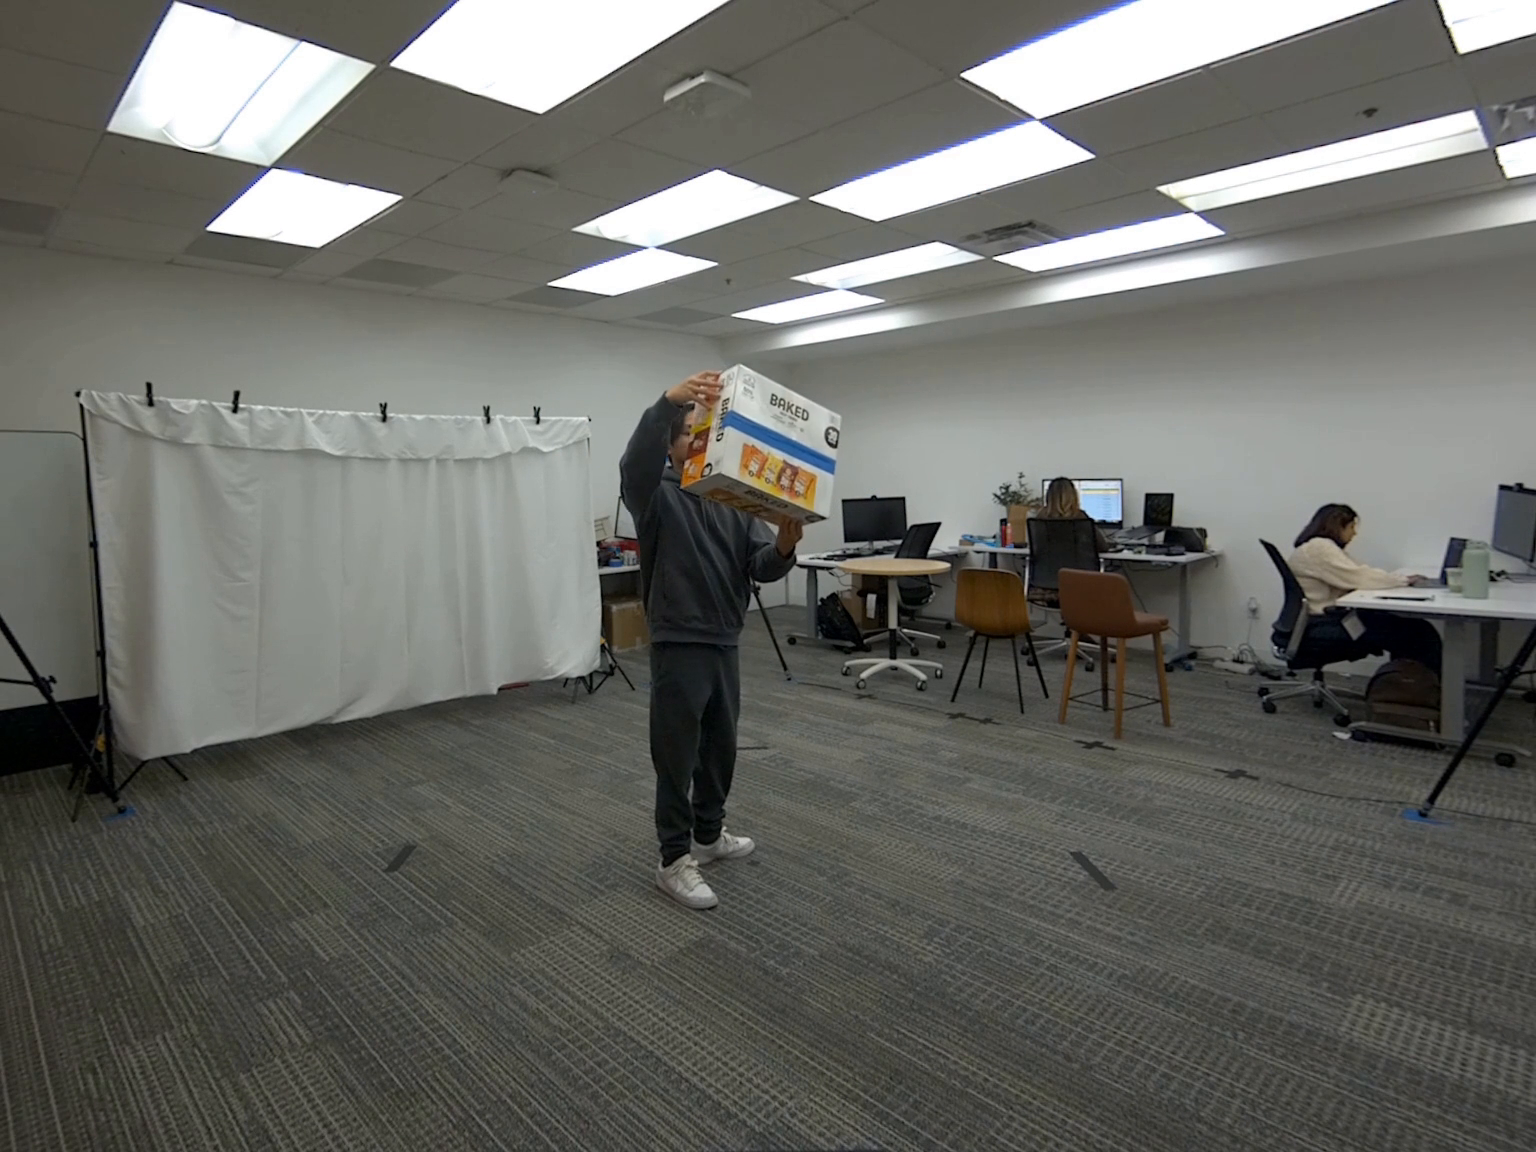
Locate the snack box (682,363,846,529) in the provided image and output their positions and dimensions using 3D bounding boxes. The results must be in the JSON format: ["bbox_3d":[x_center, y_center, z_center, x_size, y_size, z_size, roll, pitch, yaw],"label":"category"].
[{"bbox_3d":[-0.012,-0.369,2.549,0.392,0.345,0.210,20,-21,-31],"label":"snack box"}]
